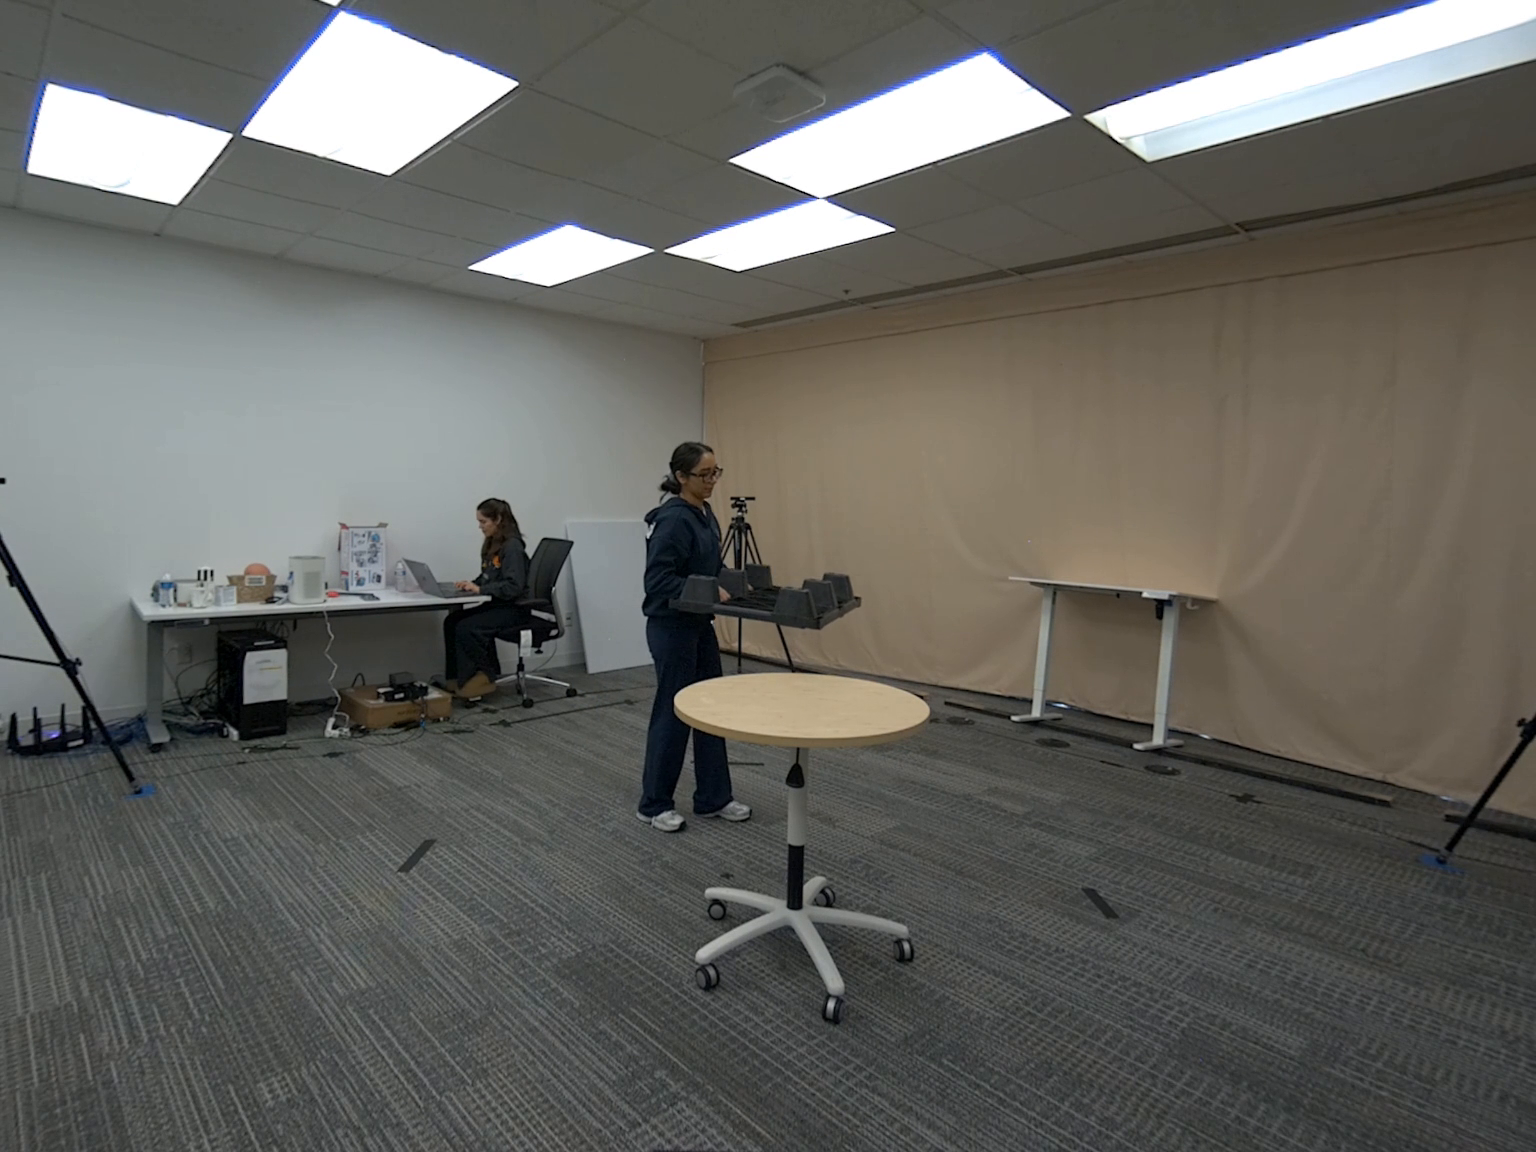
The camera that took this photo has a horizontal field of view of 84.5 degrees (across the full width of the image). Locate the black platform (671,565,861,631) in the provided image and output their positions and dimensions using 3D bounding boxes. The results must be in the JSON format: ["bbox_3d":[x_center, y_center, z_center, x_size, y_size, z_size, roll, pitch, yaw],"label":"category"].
[{"bbox_3d":[0.017,0.066,3.480,0.615,0.143,0.796,6,7,18],"label":"black platform"}]
